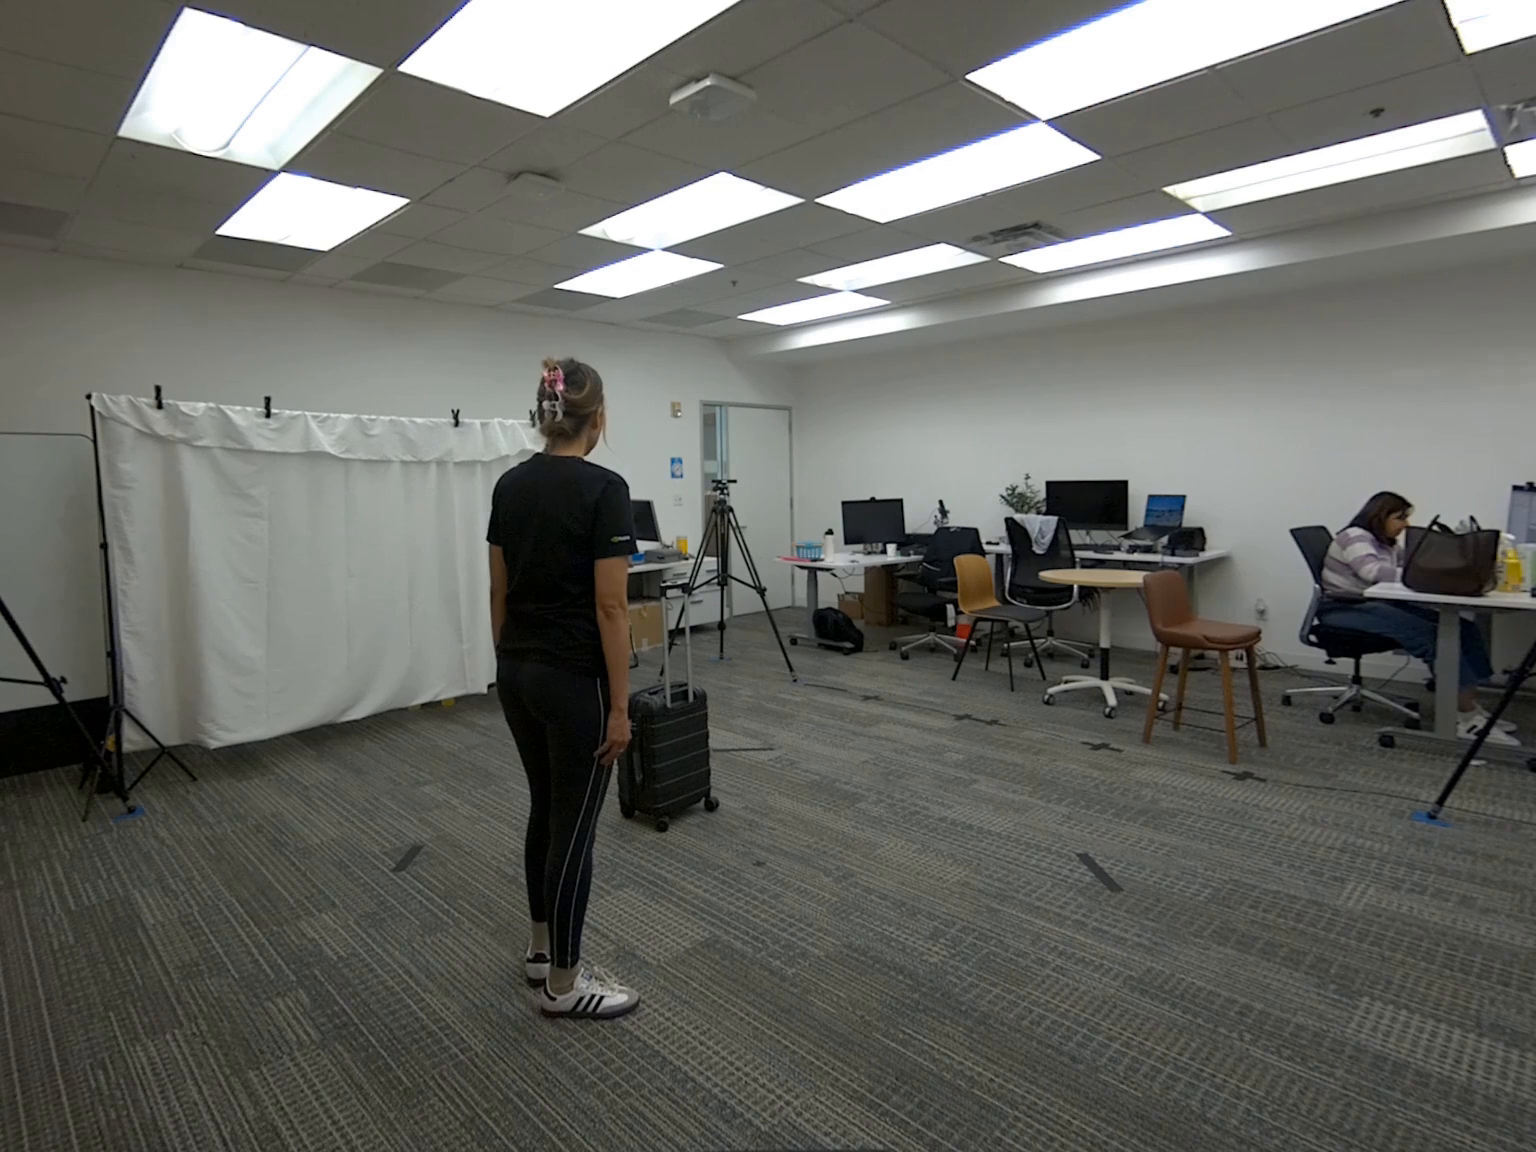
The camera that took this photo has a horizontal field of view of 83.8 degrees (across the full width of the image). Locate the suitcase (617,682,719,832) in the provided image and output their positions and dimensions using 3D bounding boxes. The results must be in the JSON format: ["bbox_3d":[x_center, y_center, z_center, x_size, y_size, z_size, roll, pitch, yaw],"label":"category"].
[{"bbox_3d":[-0.452,0.527,3.581,0.264,0.976,0.374,-2,3,41],"label":"suitcase"}]
